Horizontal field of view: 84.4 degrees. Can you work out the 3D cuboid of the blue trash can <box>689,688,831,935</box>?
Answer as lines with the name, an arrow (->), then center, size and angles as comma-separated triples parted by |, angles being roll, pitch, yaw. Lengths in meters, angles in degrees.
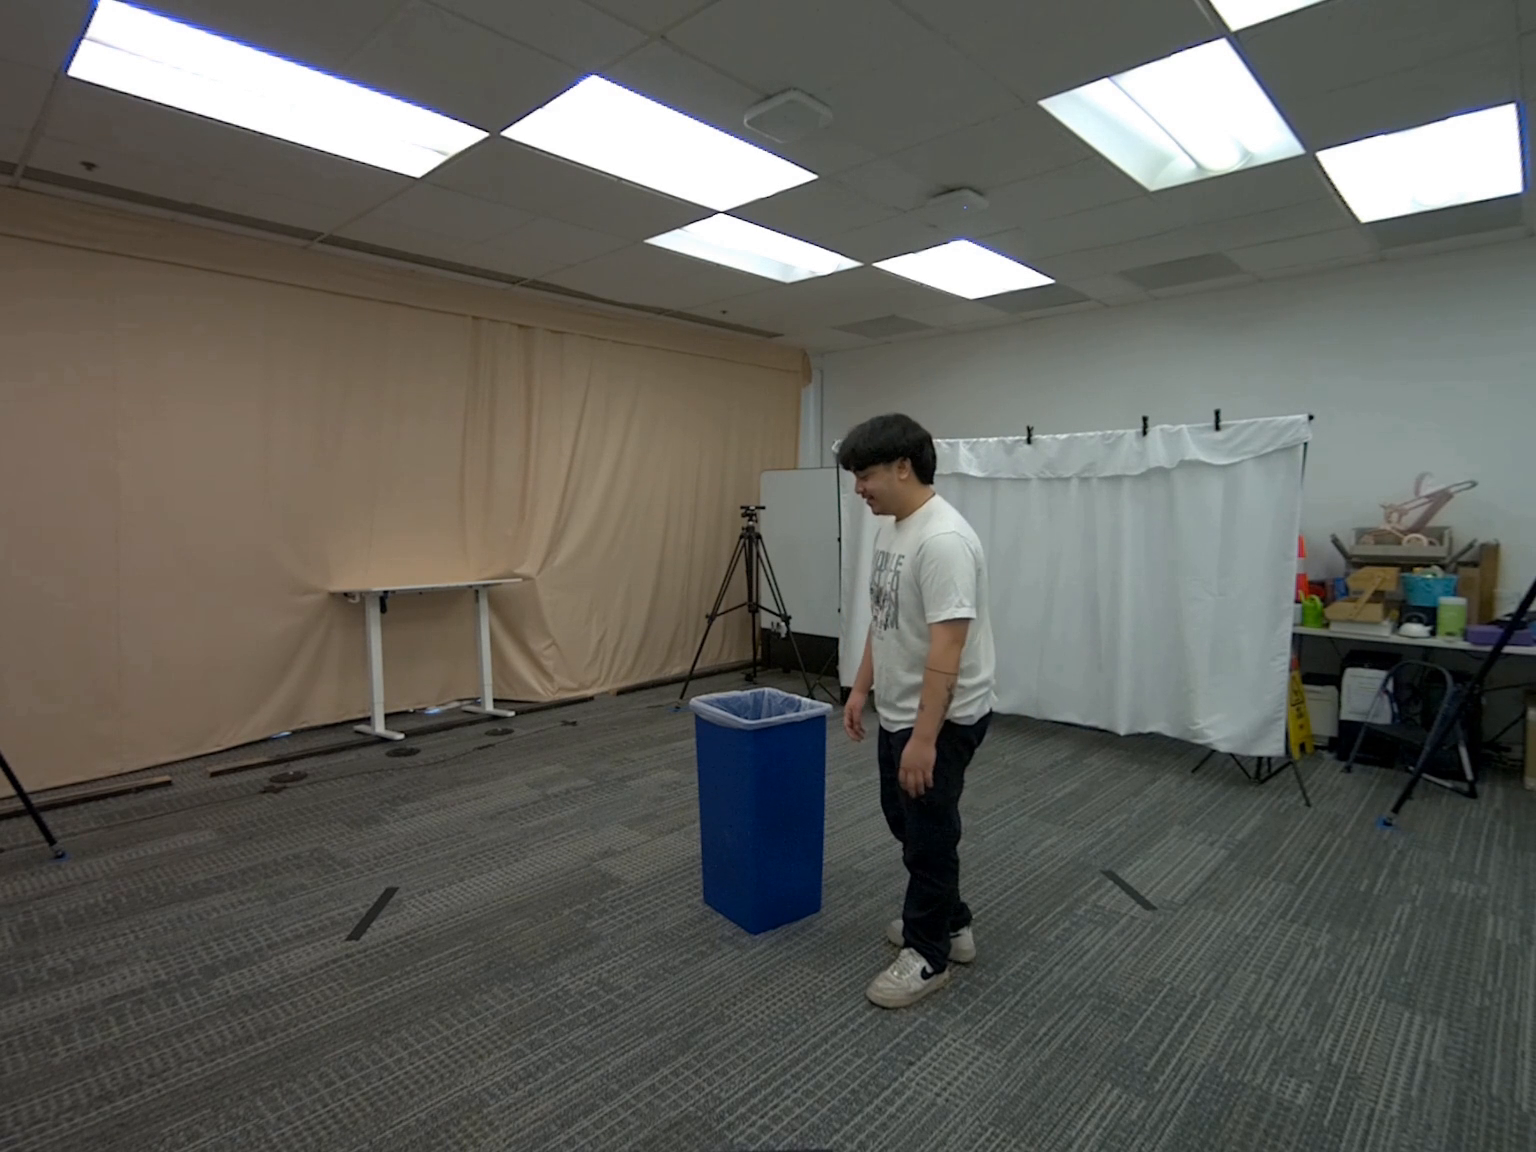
blue trash can -> -0.024, 0.792, 2.907 | 0.363, 0.712, 0.390 | -2, 4, -37
